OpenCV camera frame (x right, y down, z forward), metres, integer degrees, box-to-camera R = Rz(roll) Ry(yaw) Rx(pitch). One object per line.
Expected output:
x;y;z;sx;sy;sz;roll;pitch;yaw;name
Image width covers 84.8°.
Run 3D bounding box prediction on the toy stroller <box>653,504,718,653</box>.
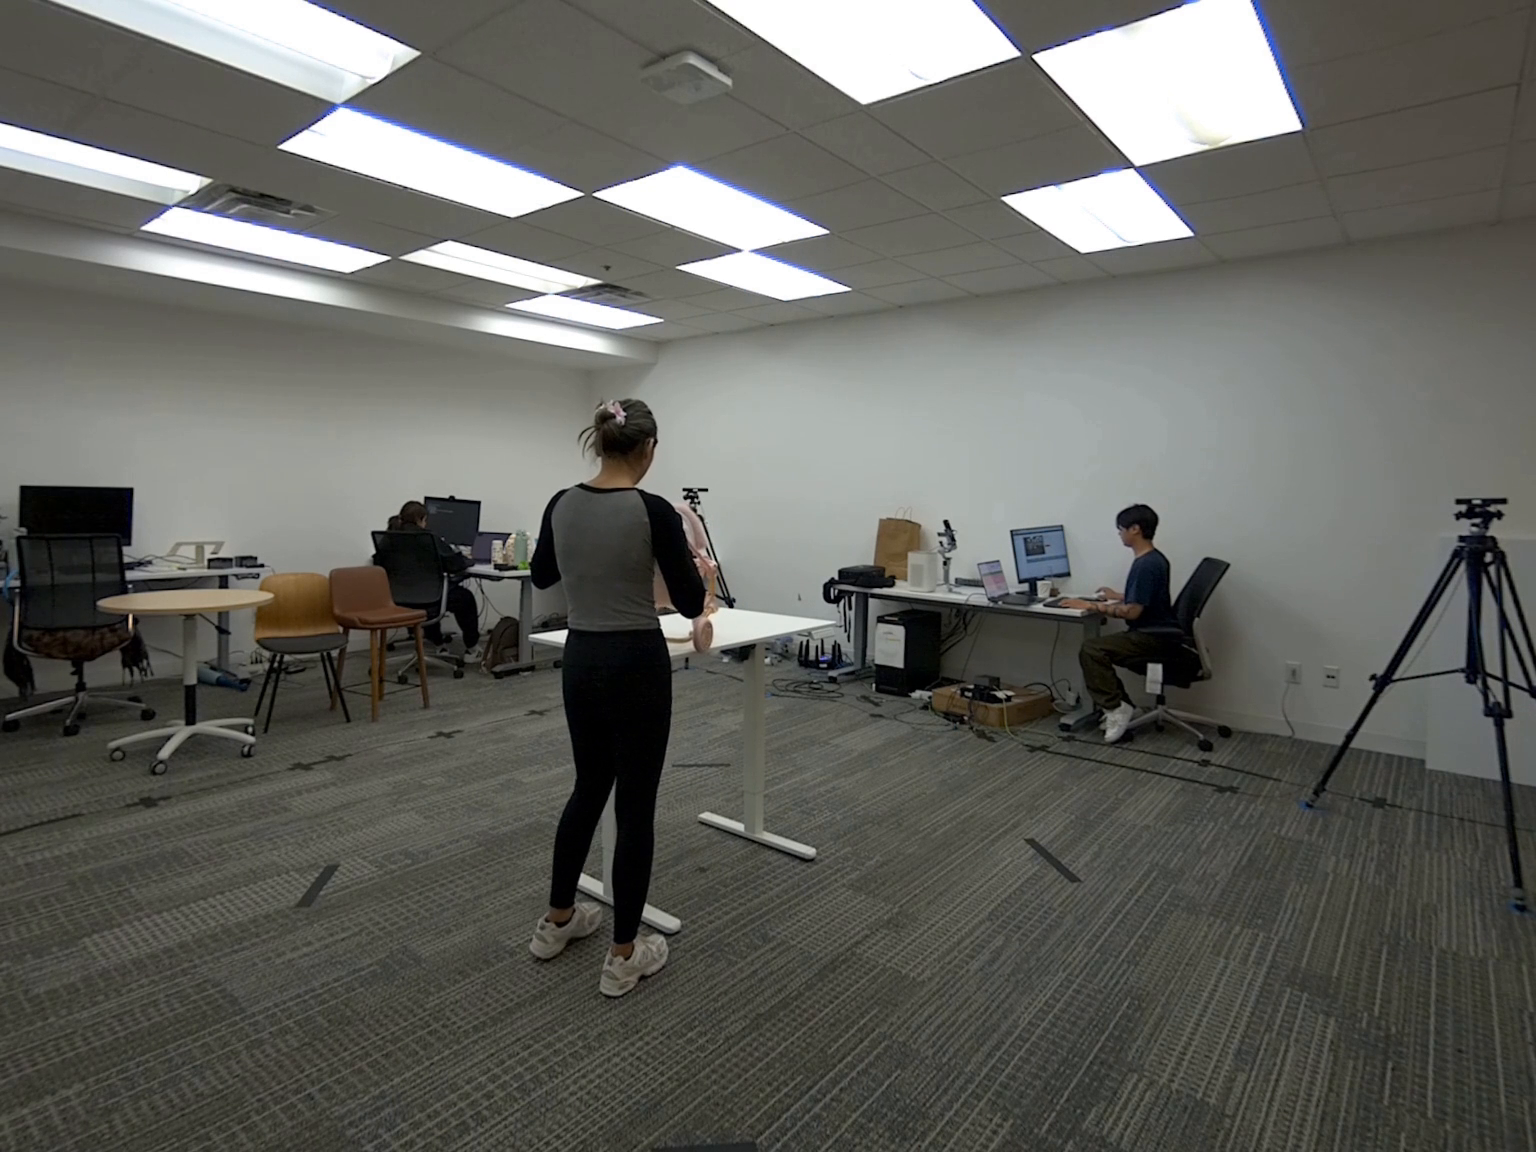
-0.299;0.001;2.741;0.289;0.525;0.339;5;22;25;toy stroller
